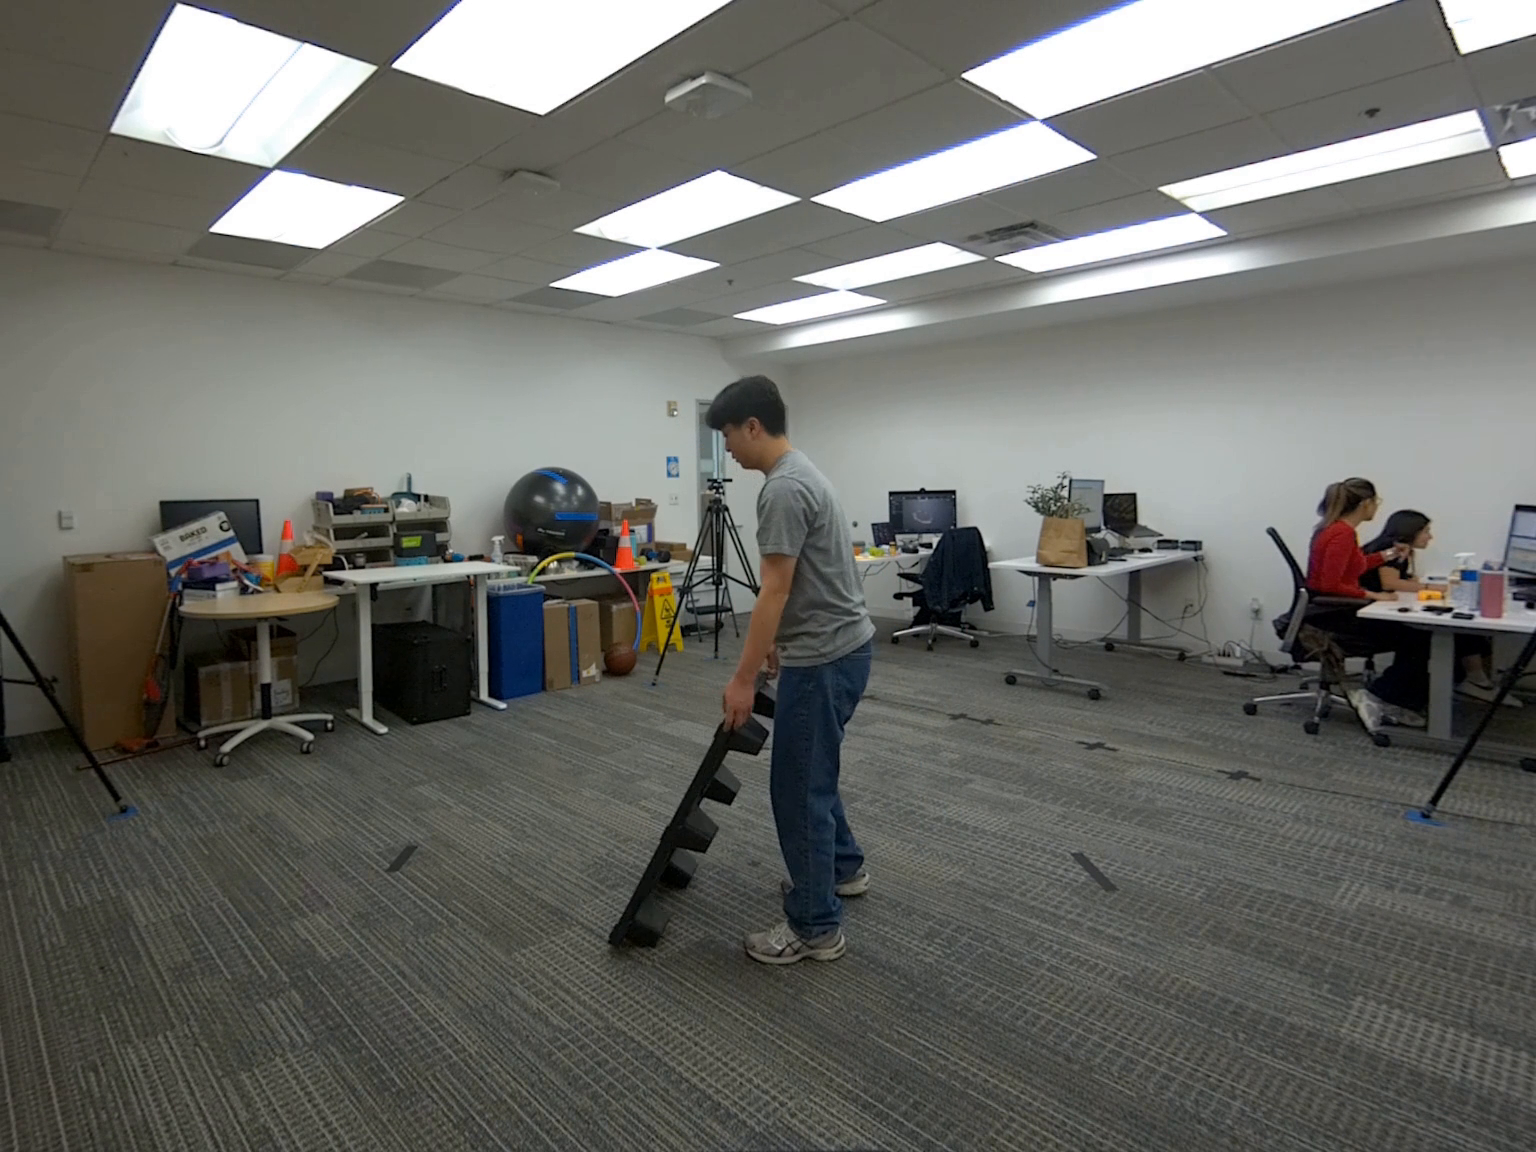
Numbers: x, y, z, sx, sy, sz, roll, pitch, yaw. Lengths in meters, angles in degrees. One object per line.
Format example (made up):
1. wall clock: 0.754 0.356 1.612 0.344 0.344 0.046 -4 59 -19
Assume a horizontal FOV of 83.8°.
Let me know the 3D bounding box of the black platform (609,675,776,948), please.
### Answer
1. black platform: -0.194 0.738 2.747 0.144 0.803 0.602 28 9 5
